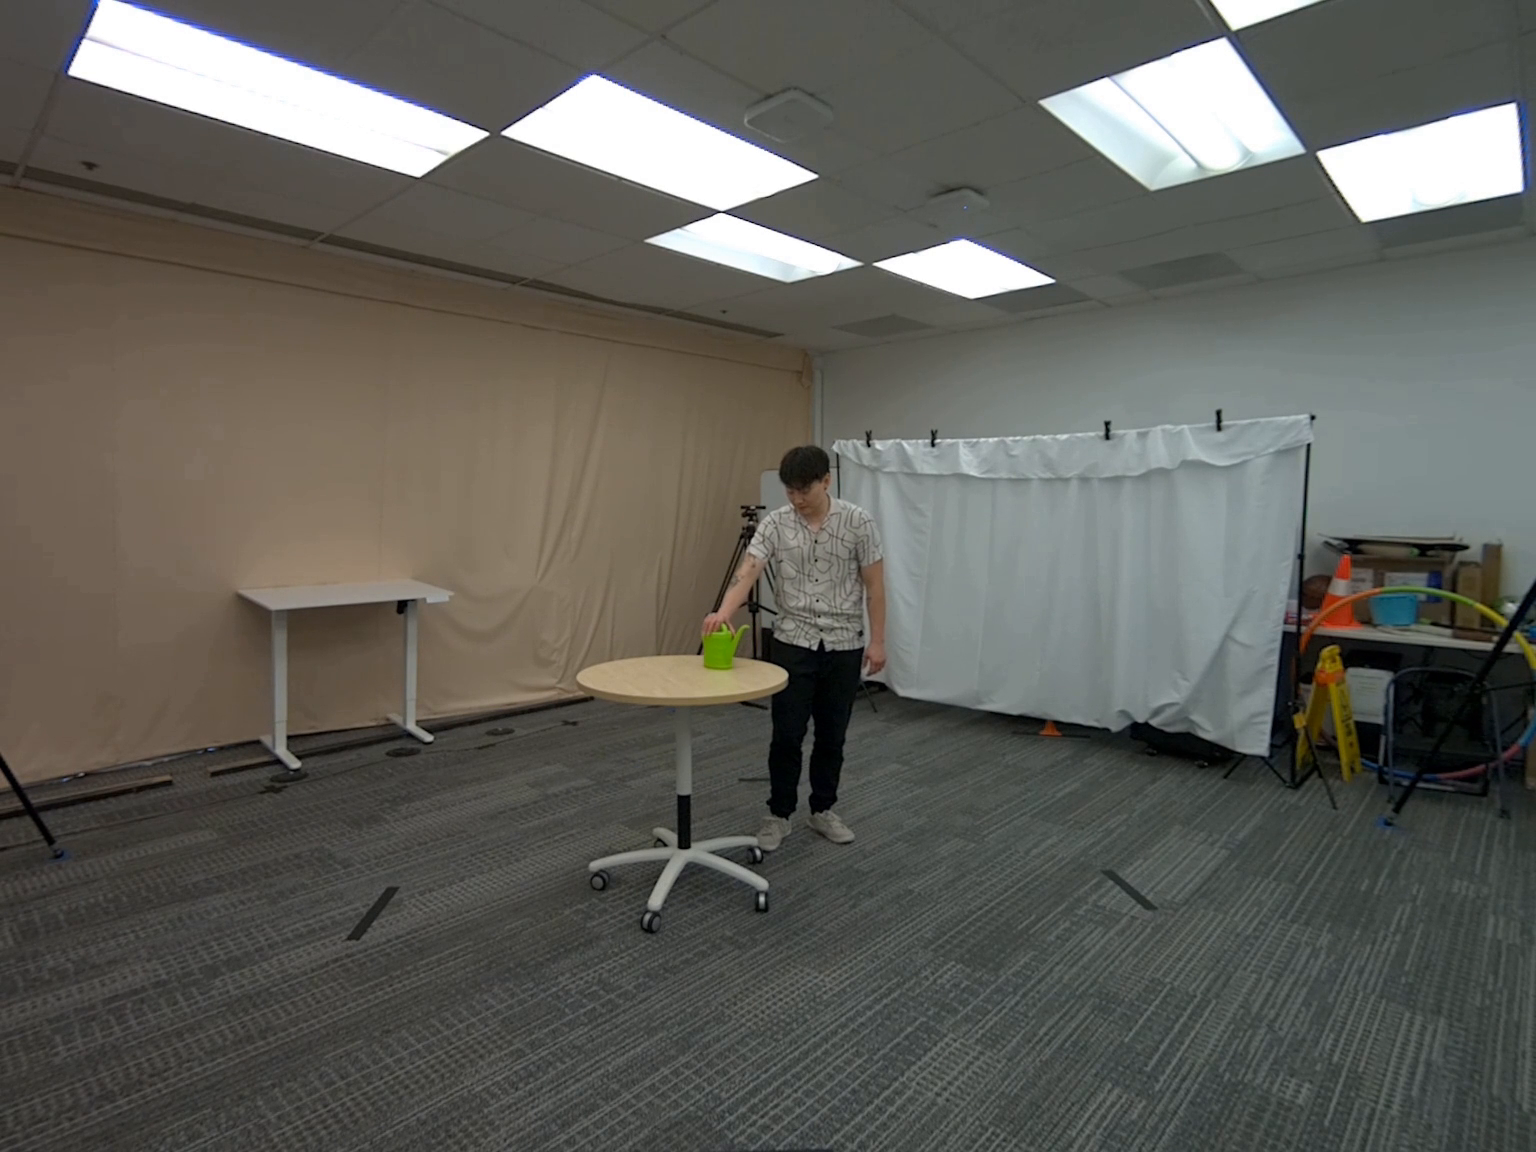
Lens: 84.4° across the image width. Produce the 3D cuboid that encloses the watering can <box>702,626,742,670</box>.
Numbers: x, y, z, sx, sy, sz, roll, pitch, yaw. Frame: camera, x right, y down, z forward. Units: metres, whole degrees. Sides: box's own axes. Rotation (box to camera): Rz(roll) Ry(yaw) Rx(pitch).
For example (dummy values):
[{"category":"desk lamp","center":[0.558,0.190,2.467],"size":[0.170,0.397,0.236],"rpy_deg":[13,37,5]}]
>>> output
[{"category":"watering can","center":[-0.169,0.263,3.149],"size":[0.096,0.176,0.285],"rpy_deg":[-2,2,-25]}]
